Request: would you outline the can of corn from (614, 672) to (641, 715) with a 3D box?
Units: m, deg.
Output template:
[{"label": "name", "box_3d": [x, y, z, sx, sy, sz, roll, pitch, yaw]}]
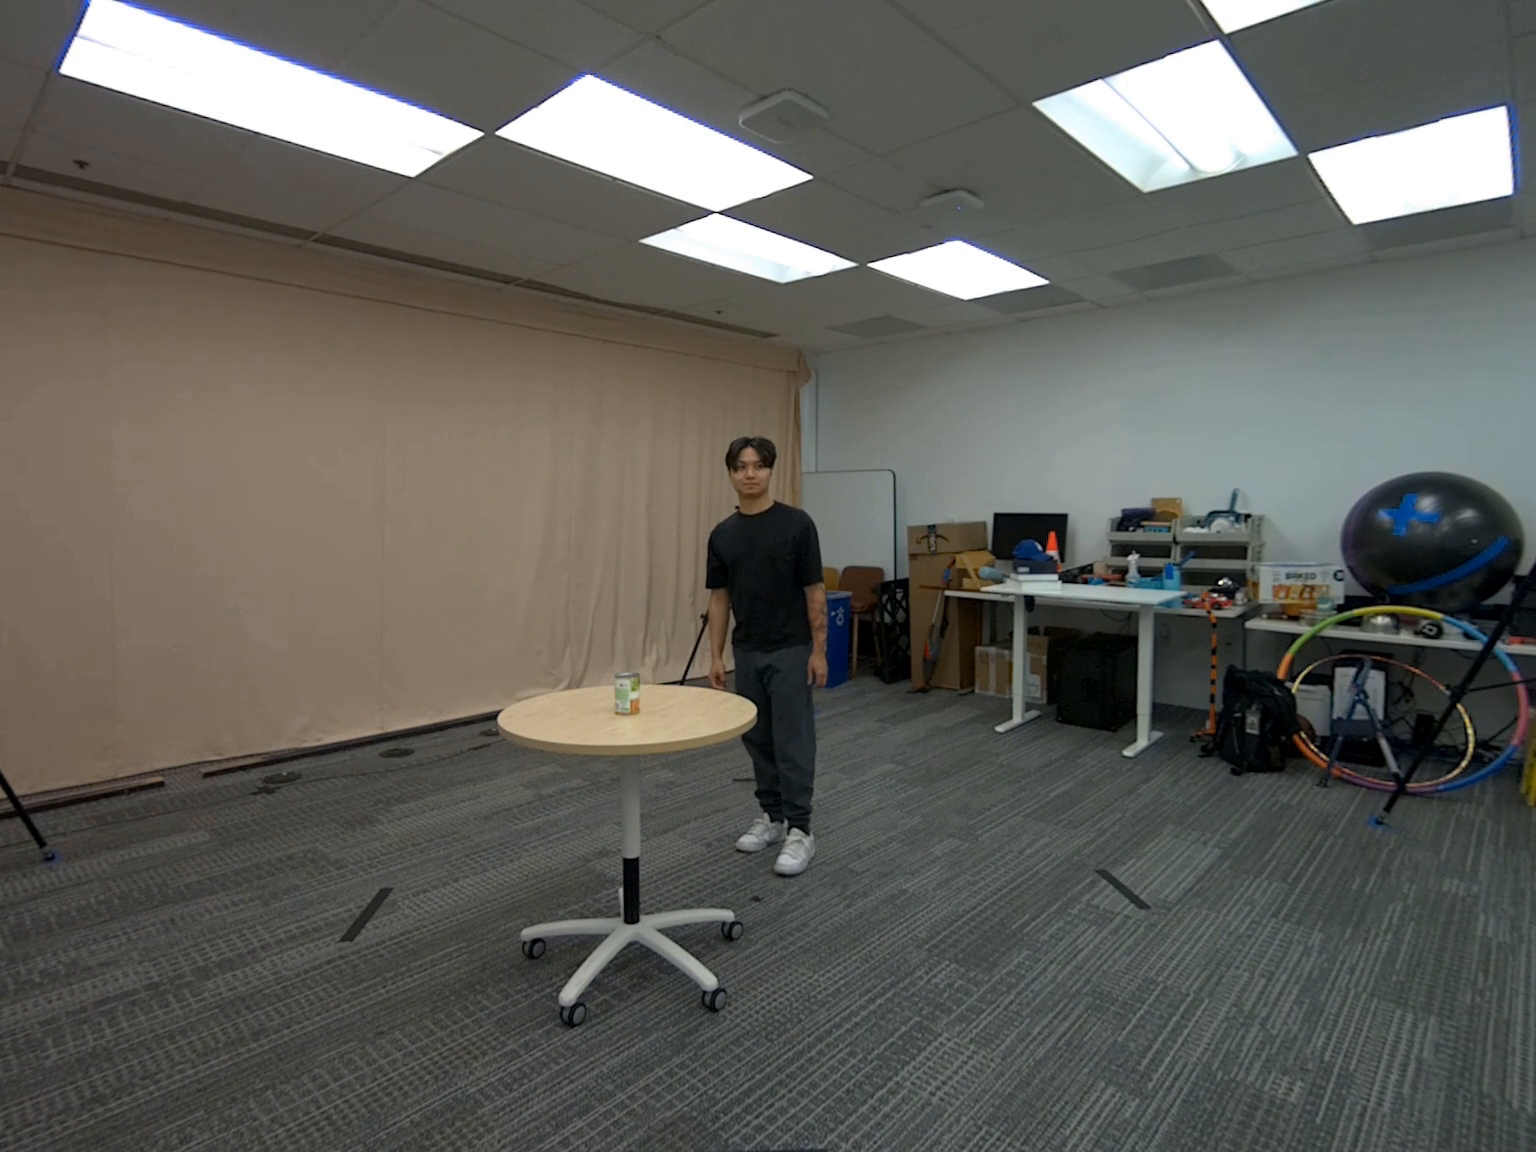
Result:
[{"label": "can of corn", "box_3d": [-0.416, 0.349, 2.481, 0.074, 0.111, 0.074, -4, 2, -2]}]
